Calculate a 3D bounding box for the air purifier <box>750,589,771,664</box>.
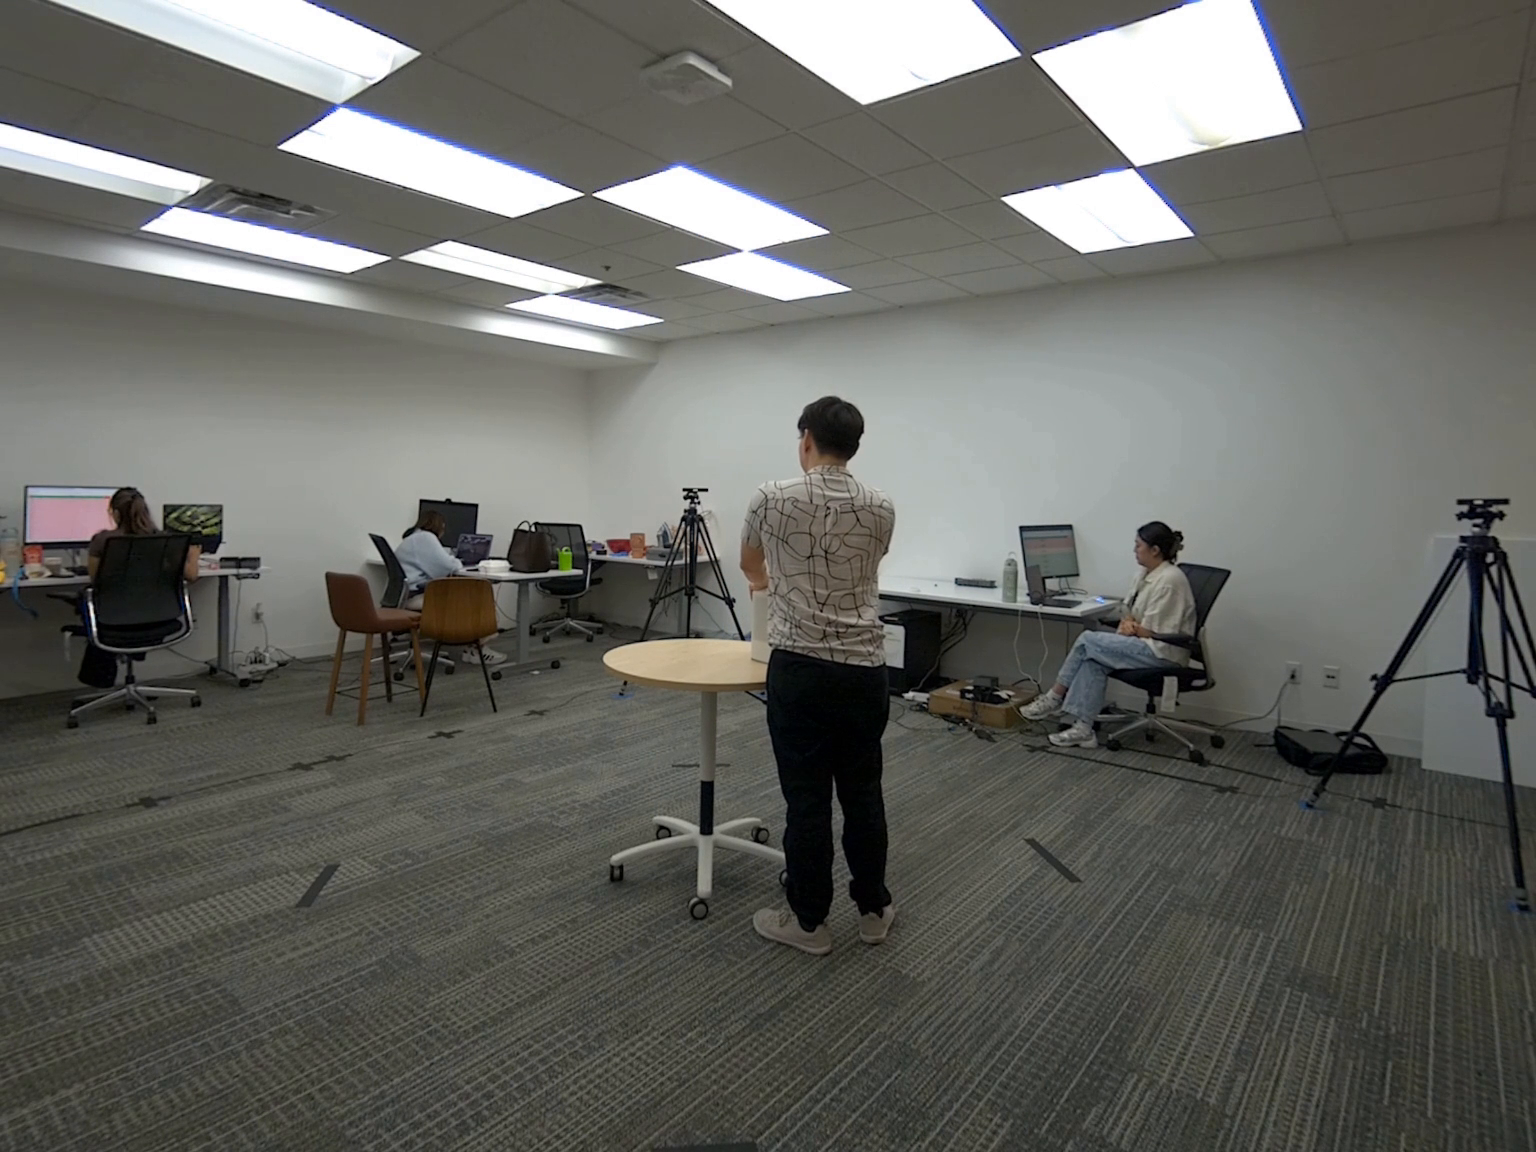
[{"bbox_3d":[0.033,0.167,3.055,0.166,0.264,0.177,-1,5,-37],"label":"air purifier"}]
